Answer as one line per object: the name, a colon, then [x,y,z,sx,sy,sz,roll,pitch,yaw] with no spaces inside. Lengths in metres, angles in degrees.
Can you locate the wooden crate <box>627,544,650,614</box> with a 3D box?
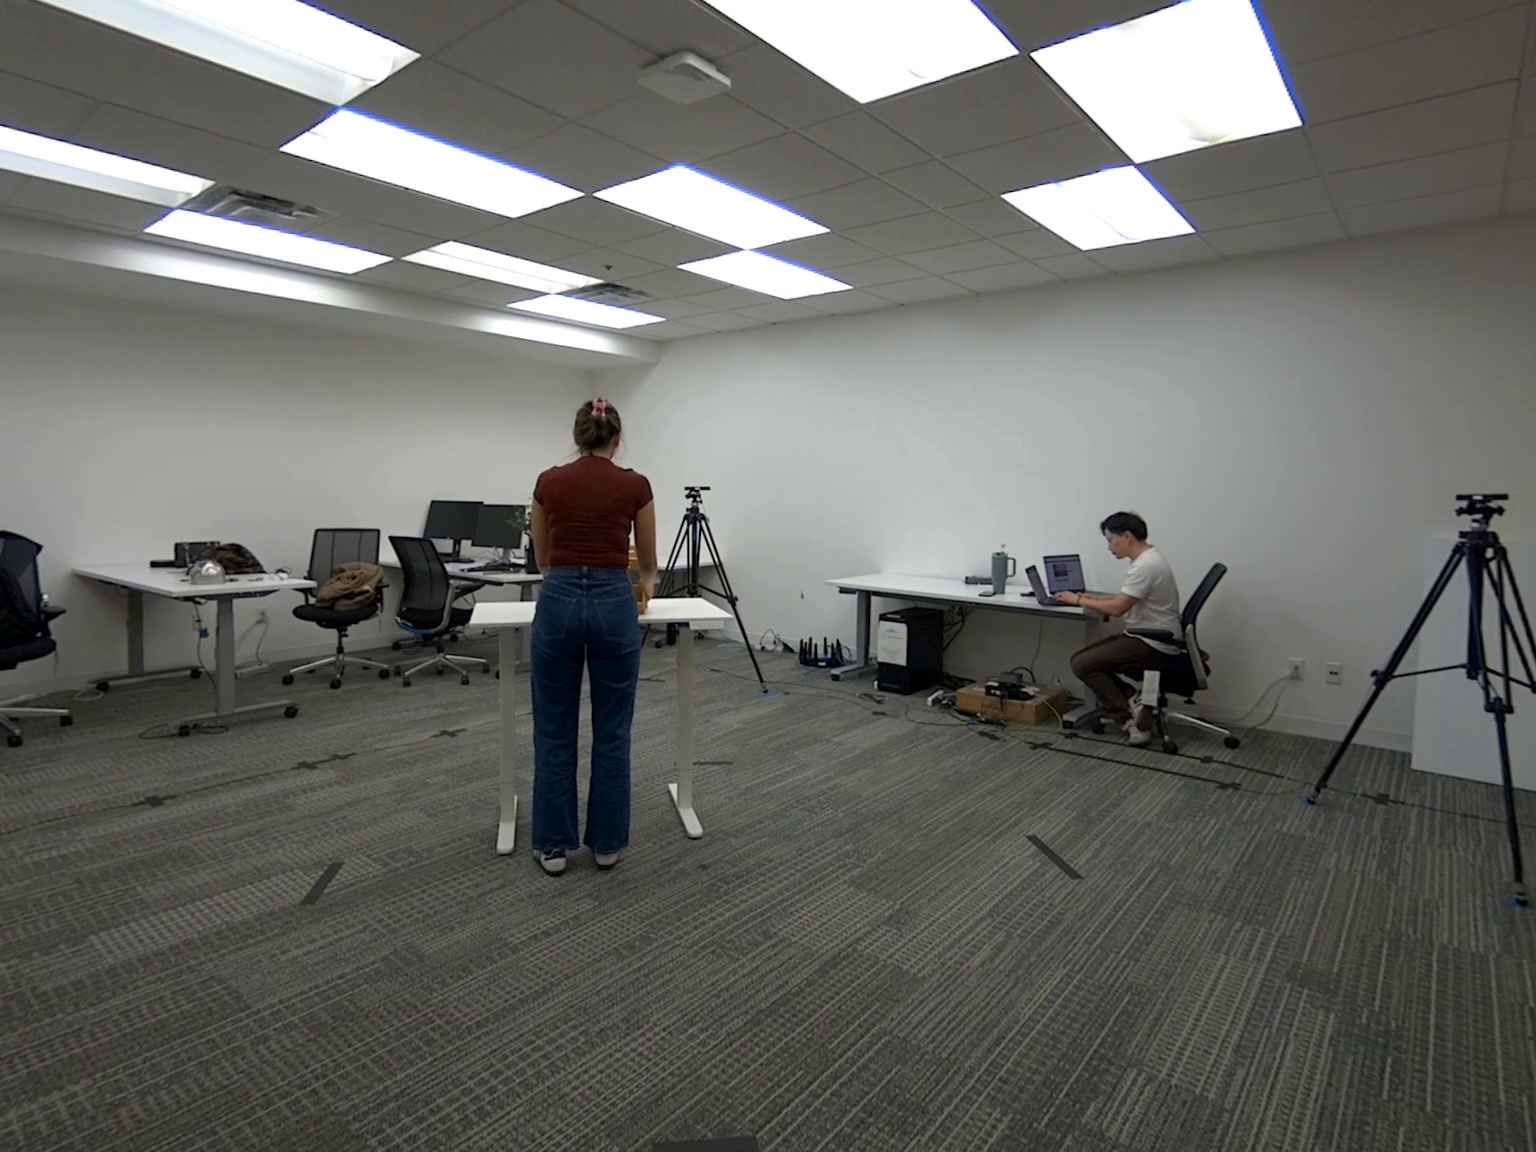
wooden crate: [-0.669,0.007,3.501,0.322,0.272,0.305,0,4,-7]
